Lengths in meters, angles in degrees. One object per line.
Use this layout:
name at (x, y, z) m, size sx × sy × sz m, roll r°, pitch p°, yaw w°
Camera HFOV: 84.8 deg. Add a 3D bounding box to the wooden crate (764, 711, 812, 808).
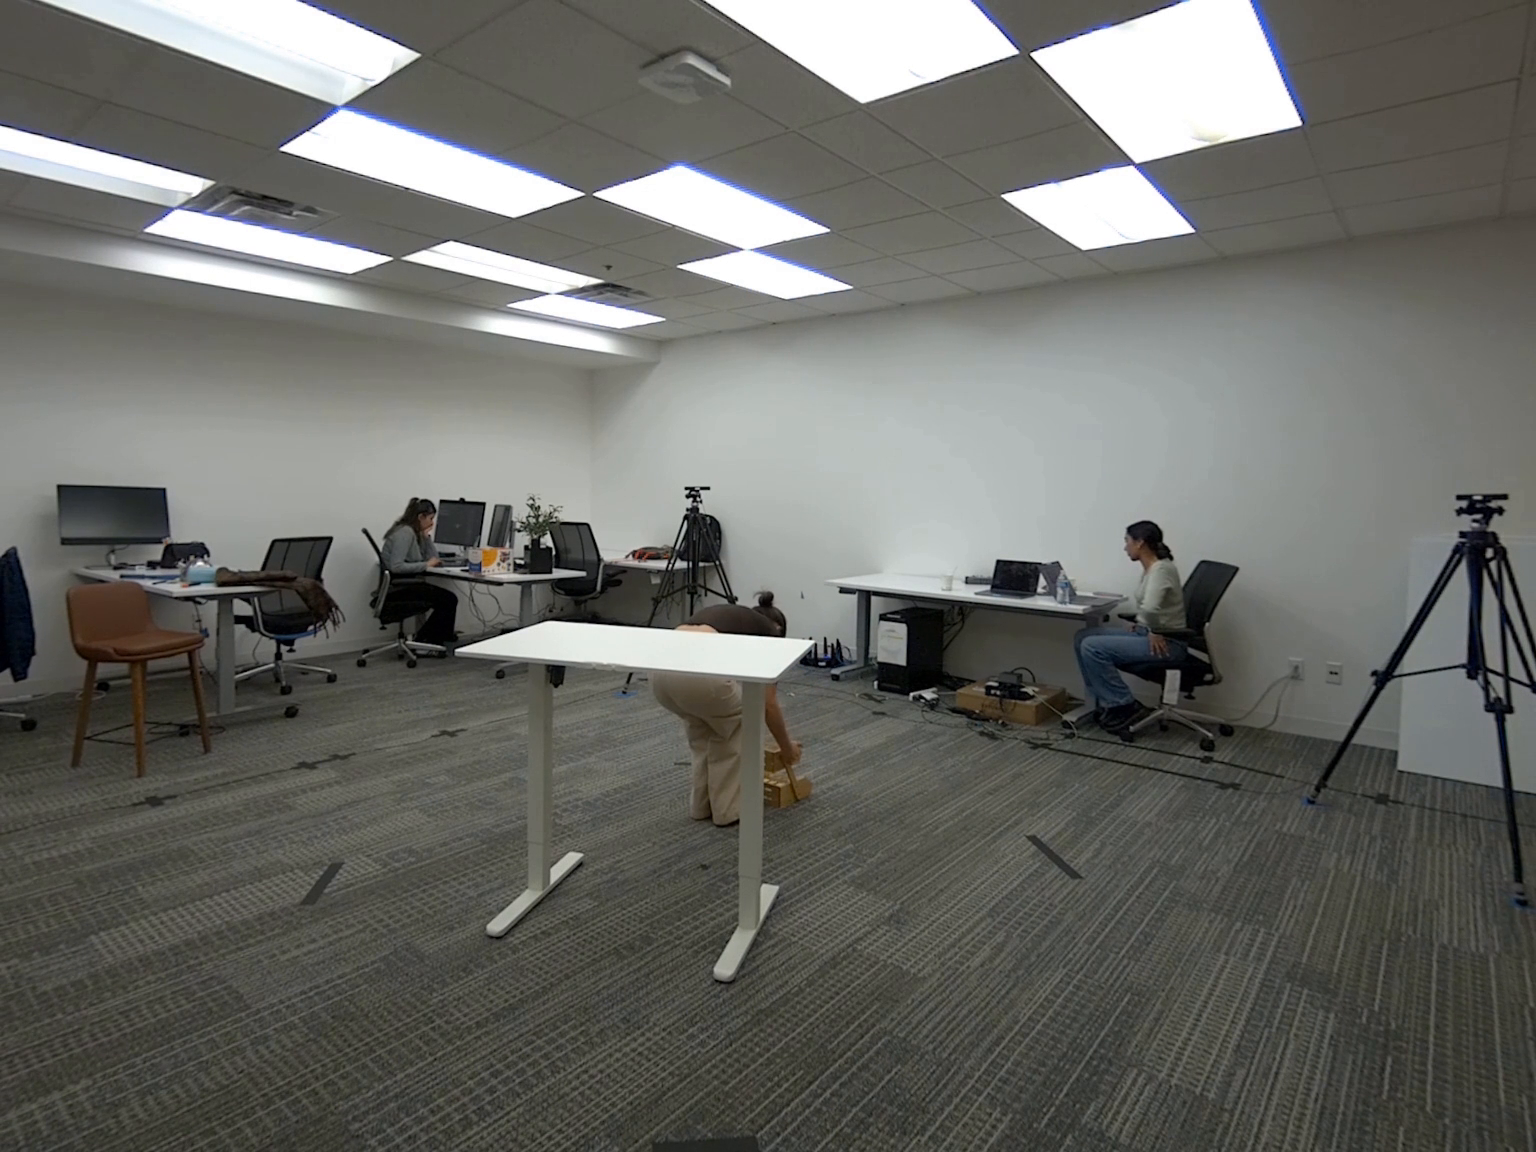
wooden crate at (-0.013, 0.861, 3.876) m, size 0.335 × 0.272 × 0.293 m, roll 4°, pitch 7°, yaw 38°
